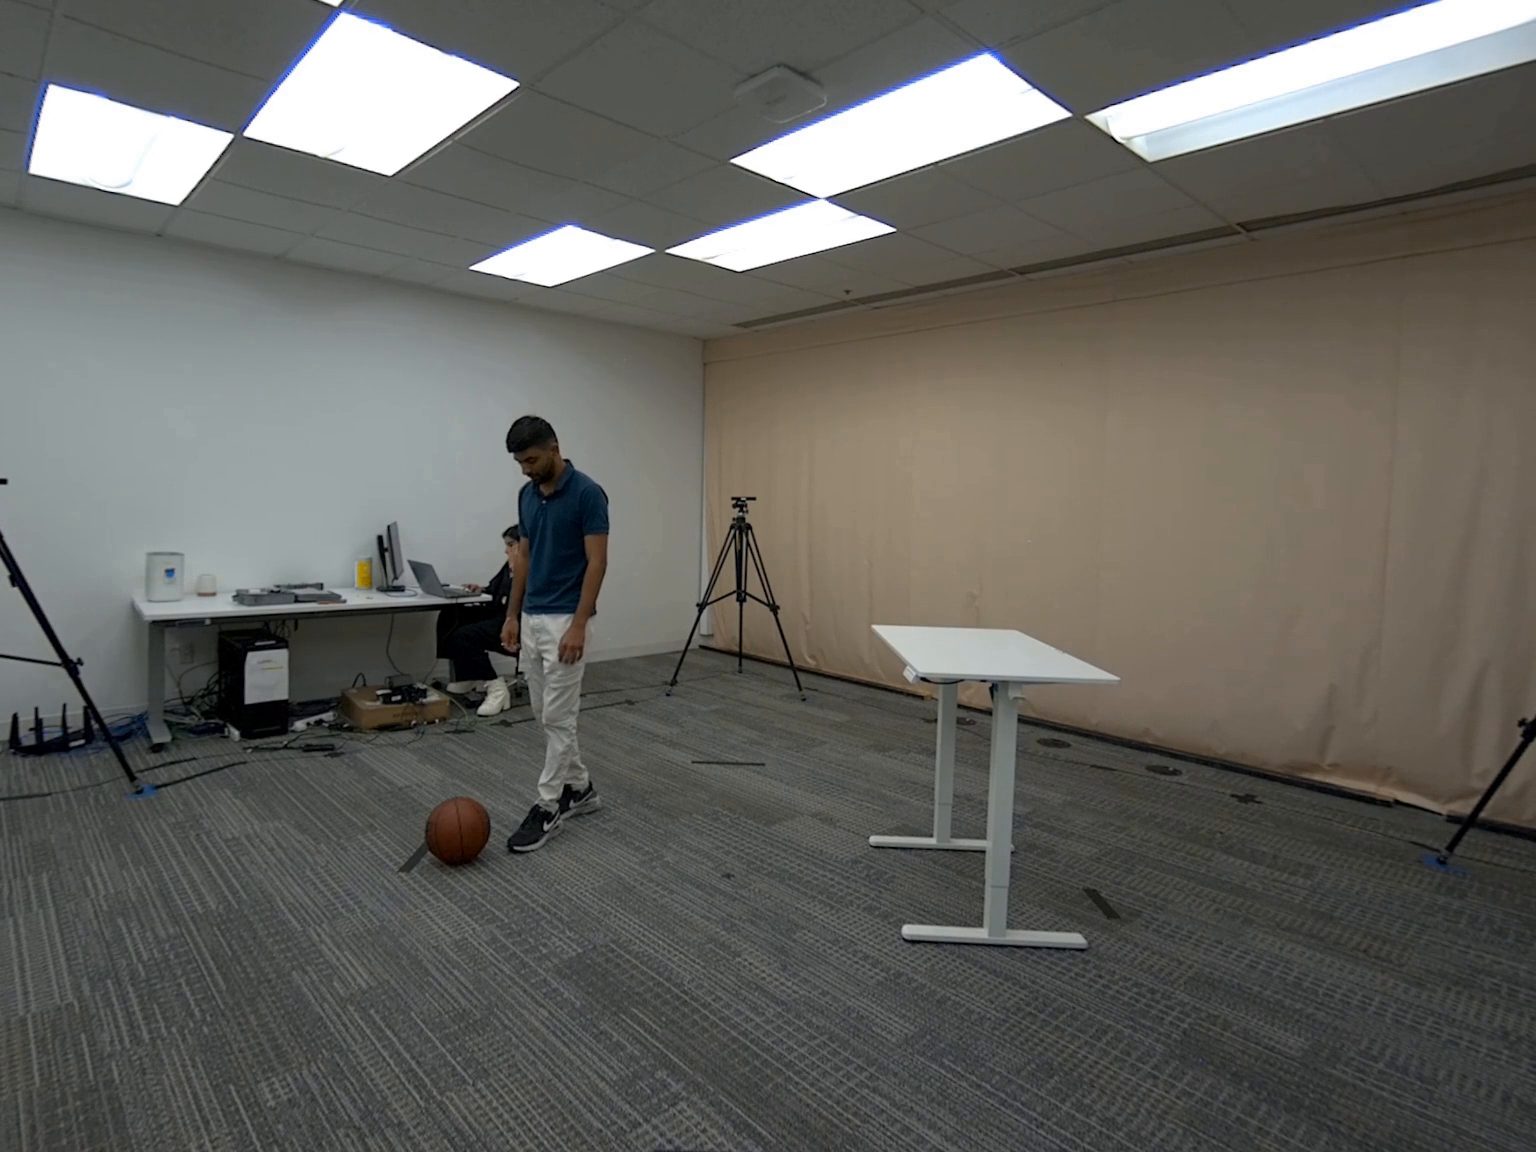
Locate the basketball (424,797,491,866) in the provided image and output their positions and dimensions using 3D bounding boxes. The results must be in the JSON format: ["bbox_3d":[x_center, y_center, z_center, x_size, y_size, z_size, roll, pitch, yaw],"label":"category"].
[{"bbox_3d":[-1.180,0.959,3.174,0.236,0.235,0.237,1,4,-1],"label":"basketball"}]
